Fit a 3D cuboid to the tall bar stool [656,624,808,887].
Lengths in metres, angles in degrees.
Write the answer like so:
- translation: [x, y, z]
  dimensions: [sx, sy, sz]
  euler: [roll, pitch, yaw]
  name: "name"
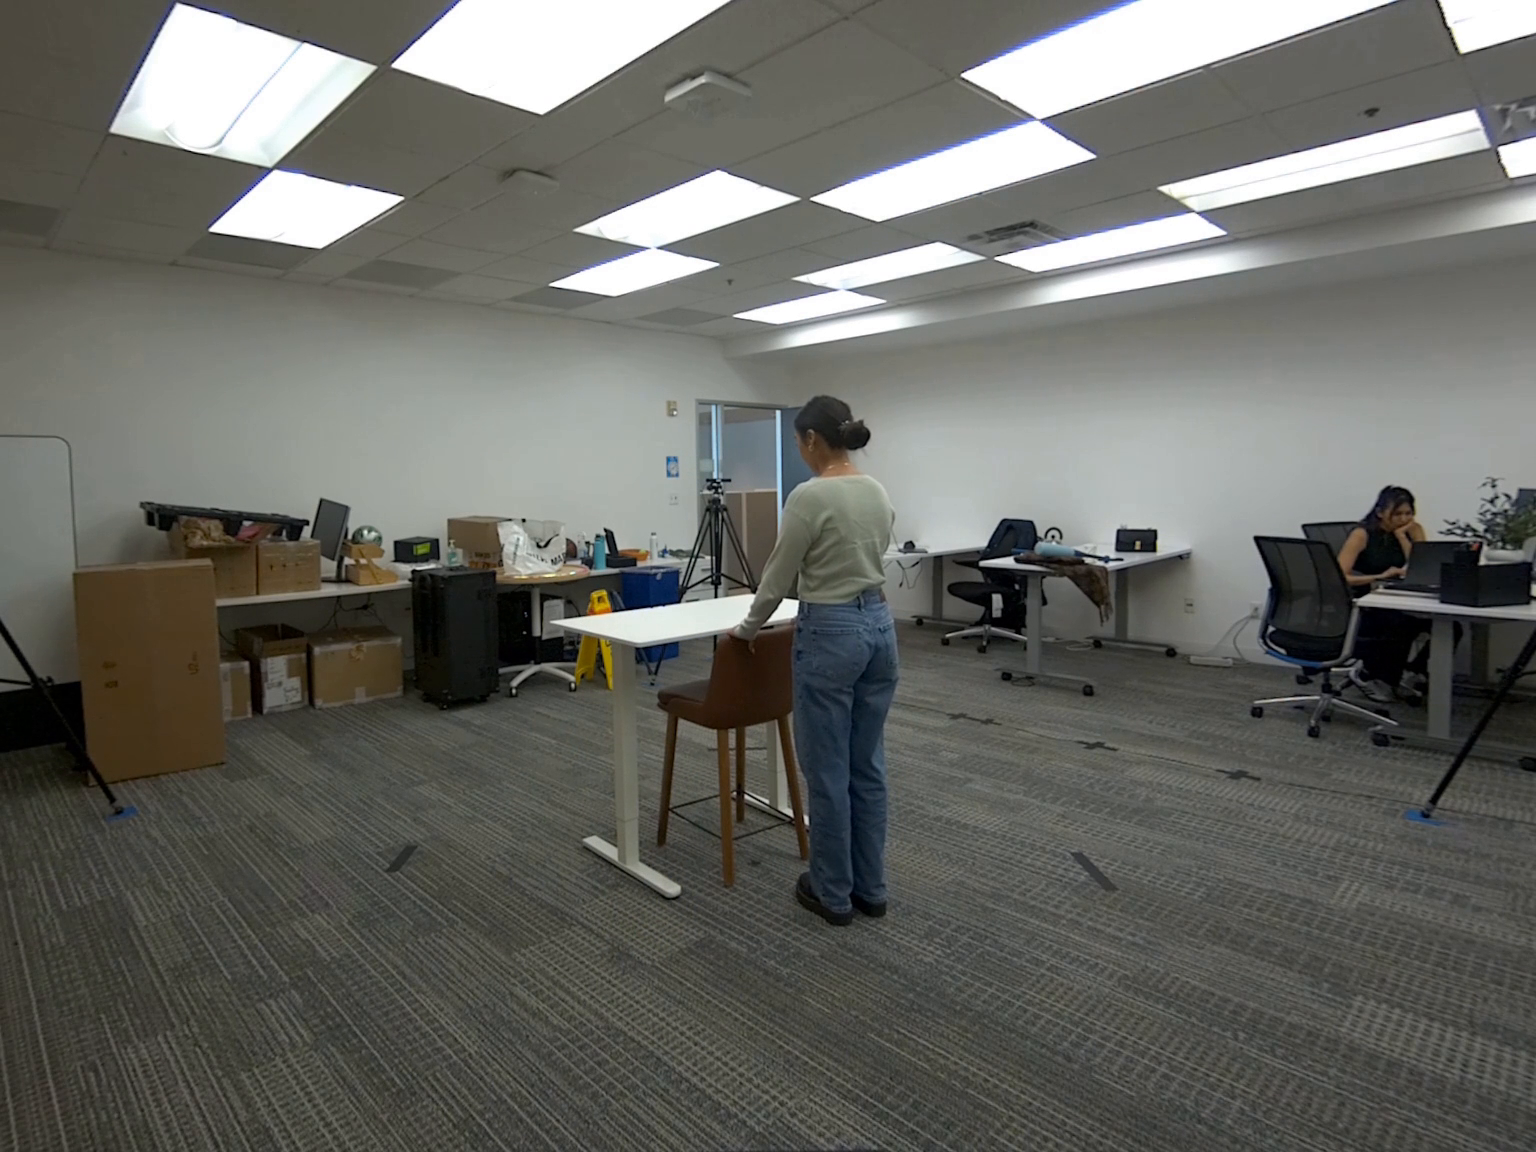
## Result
- translation: [-0.128, 0.605, 3.175]
  dimensions: [0.444, 0.885, 0.482]
  euler: [-3, 7, -36]
  name: "tall bar stool"
